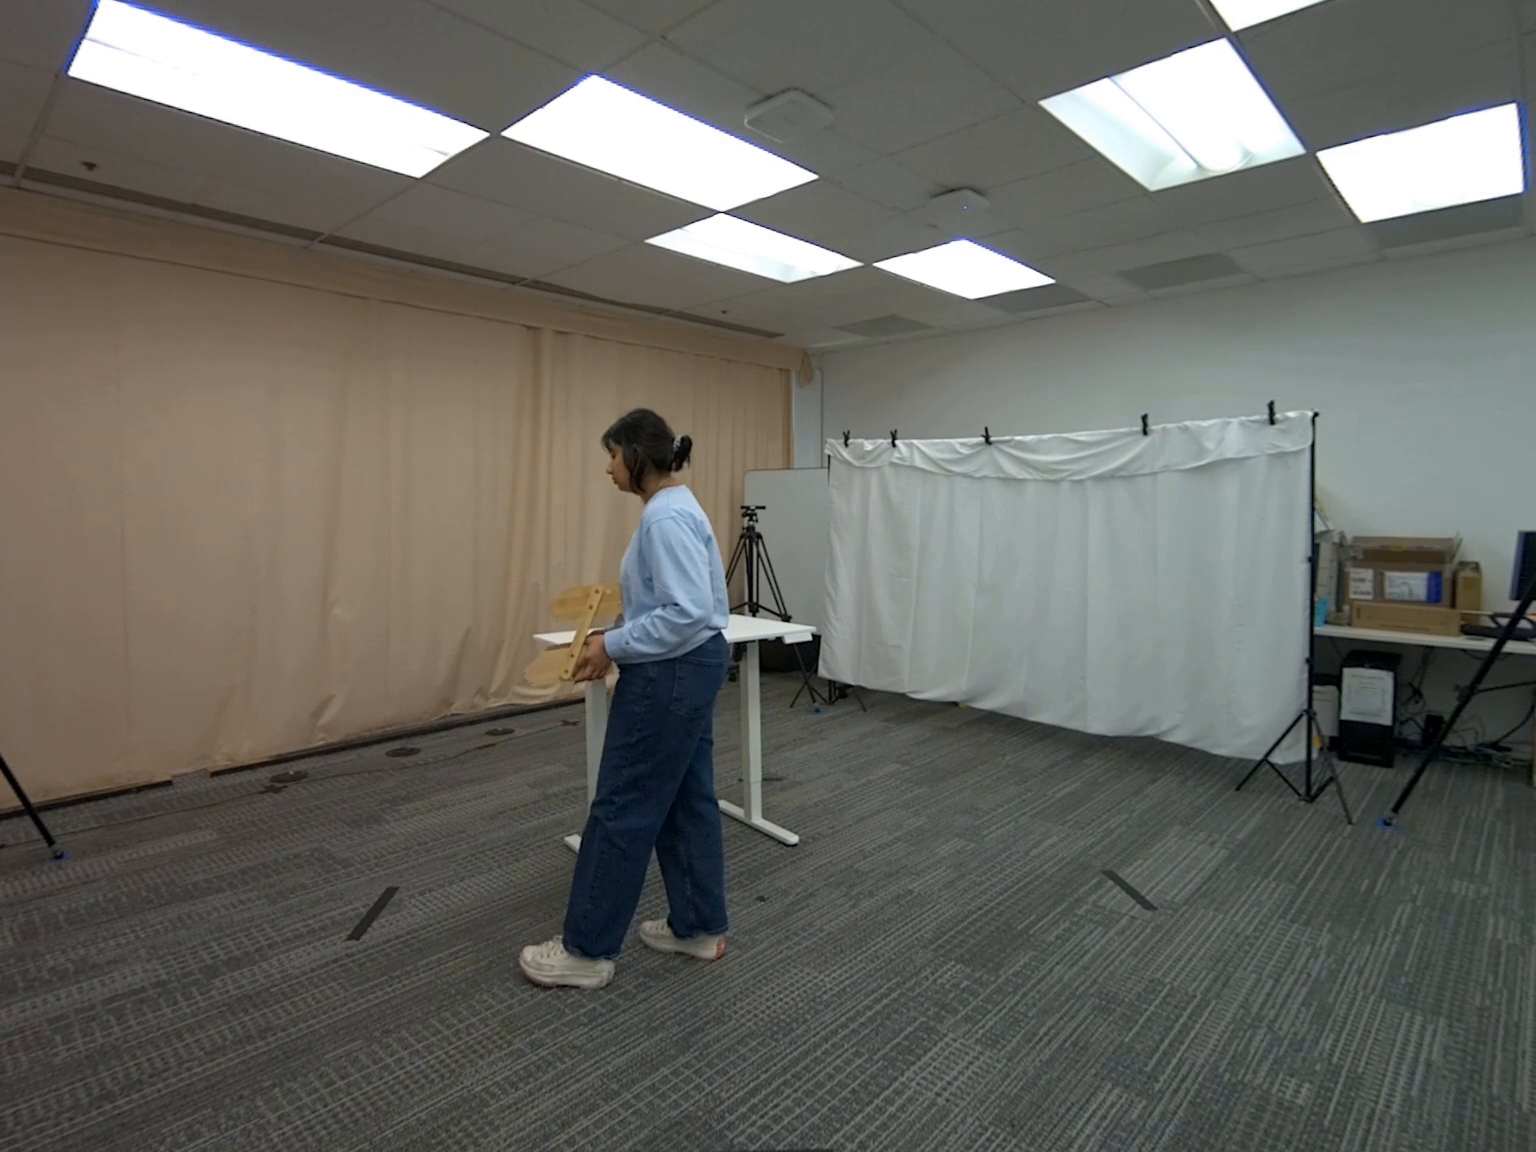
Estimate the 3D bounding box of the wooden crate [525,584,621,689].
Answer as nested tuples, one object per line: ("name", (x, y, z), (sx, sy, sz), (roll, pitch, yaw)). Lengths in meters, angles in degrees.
("wooden crate", (-0.595, 0.162, 2.525), (0.300, 0.274, 0.326), (-6, -1, -8))
